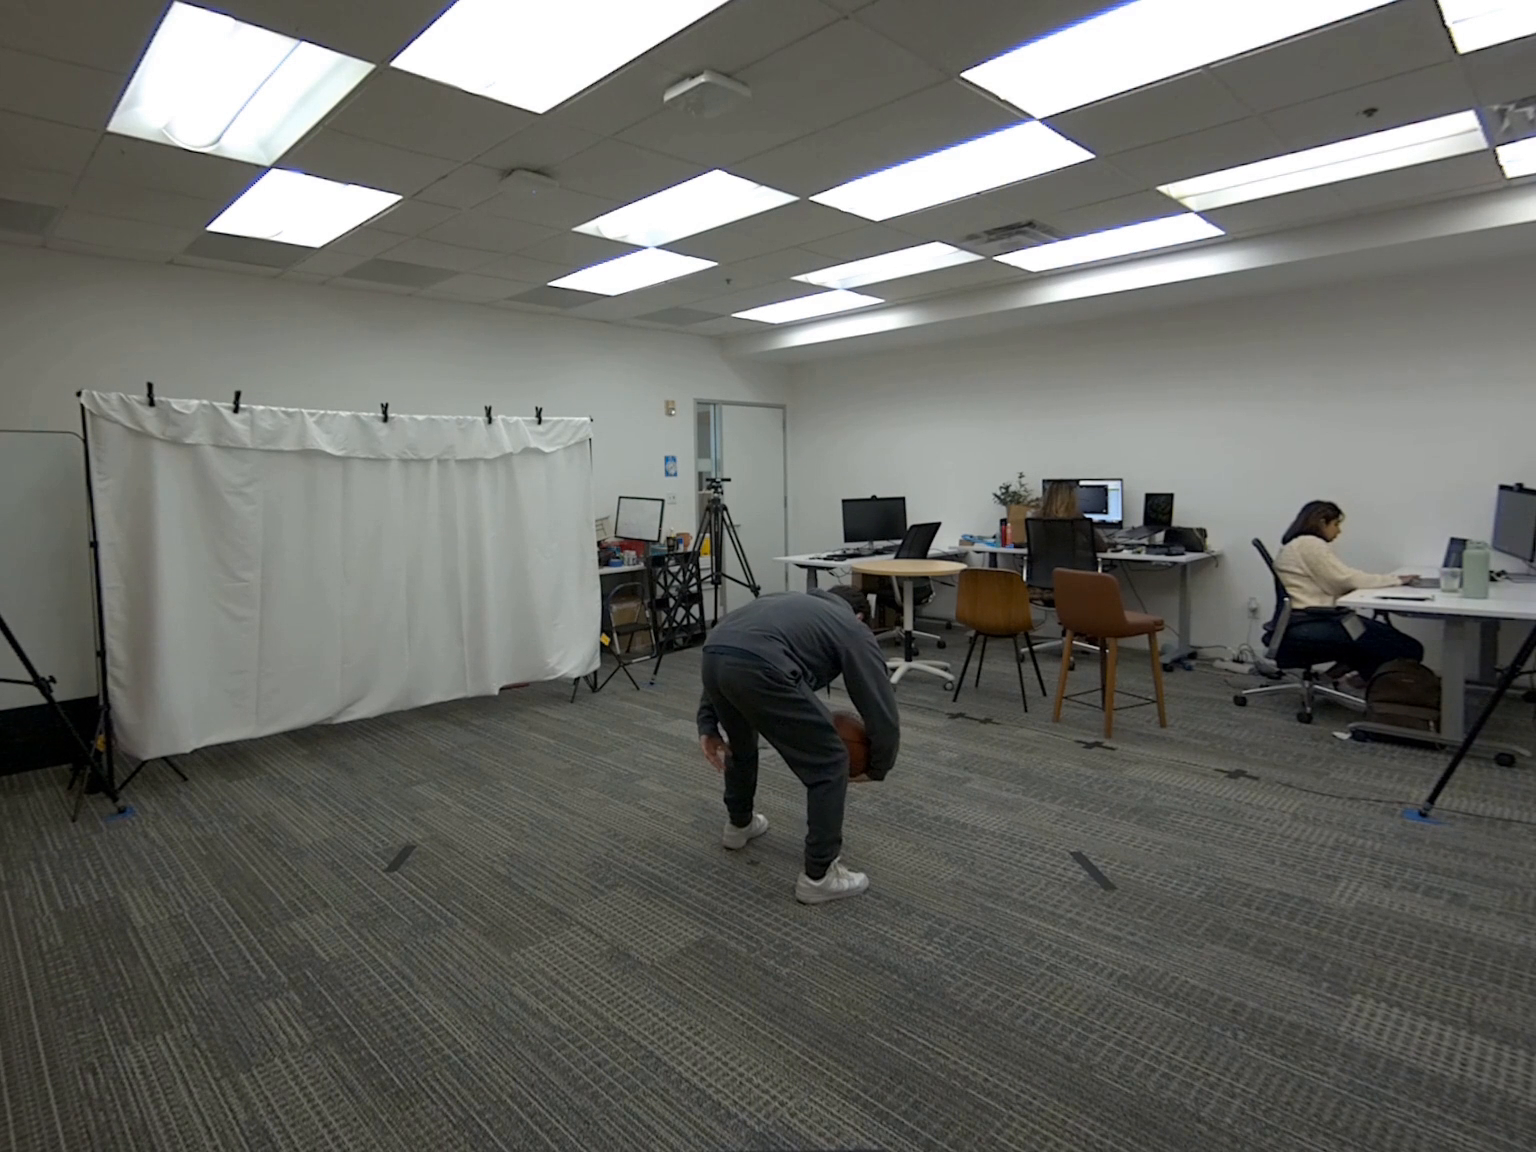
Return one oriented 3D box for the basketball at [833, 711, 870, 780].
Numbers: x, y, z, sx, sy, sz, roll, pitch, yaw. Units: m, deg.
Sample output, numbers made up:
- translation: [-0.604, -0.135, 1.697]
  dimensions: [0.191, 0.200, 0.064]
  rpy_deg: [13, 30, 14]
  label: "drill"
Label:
- translation: [0.279, 0.618, 3.148]
  dimensions: [0.236, 0.235, 0.237]
  rpy_deg: [-1, 5, -2]
  label: "basketball"
